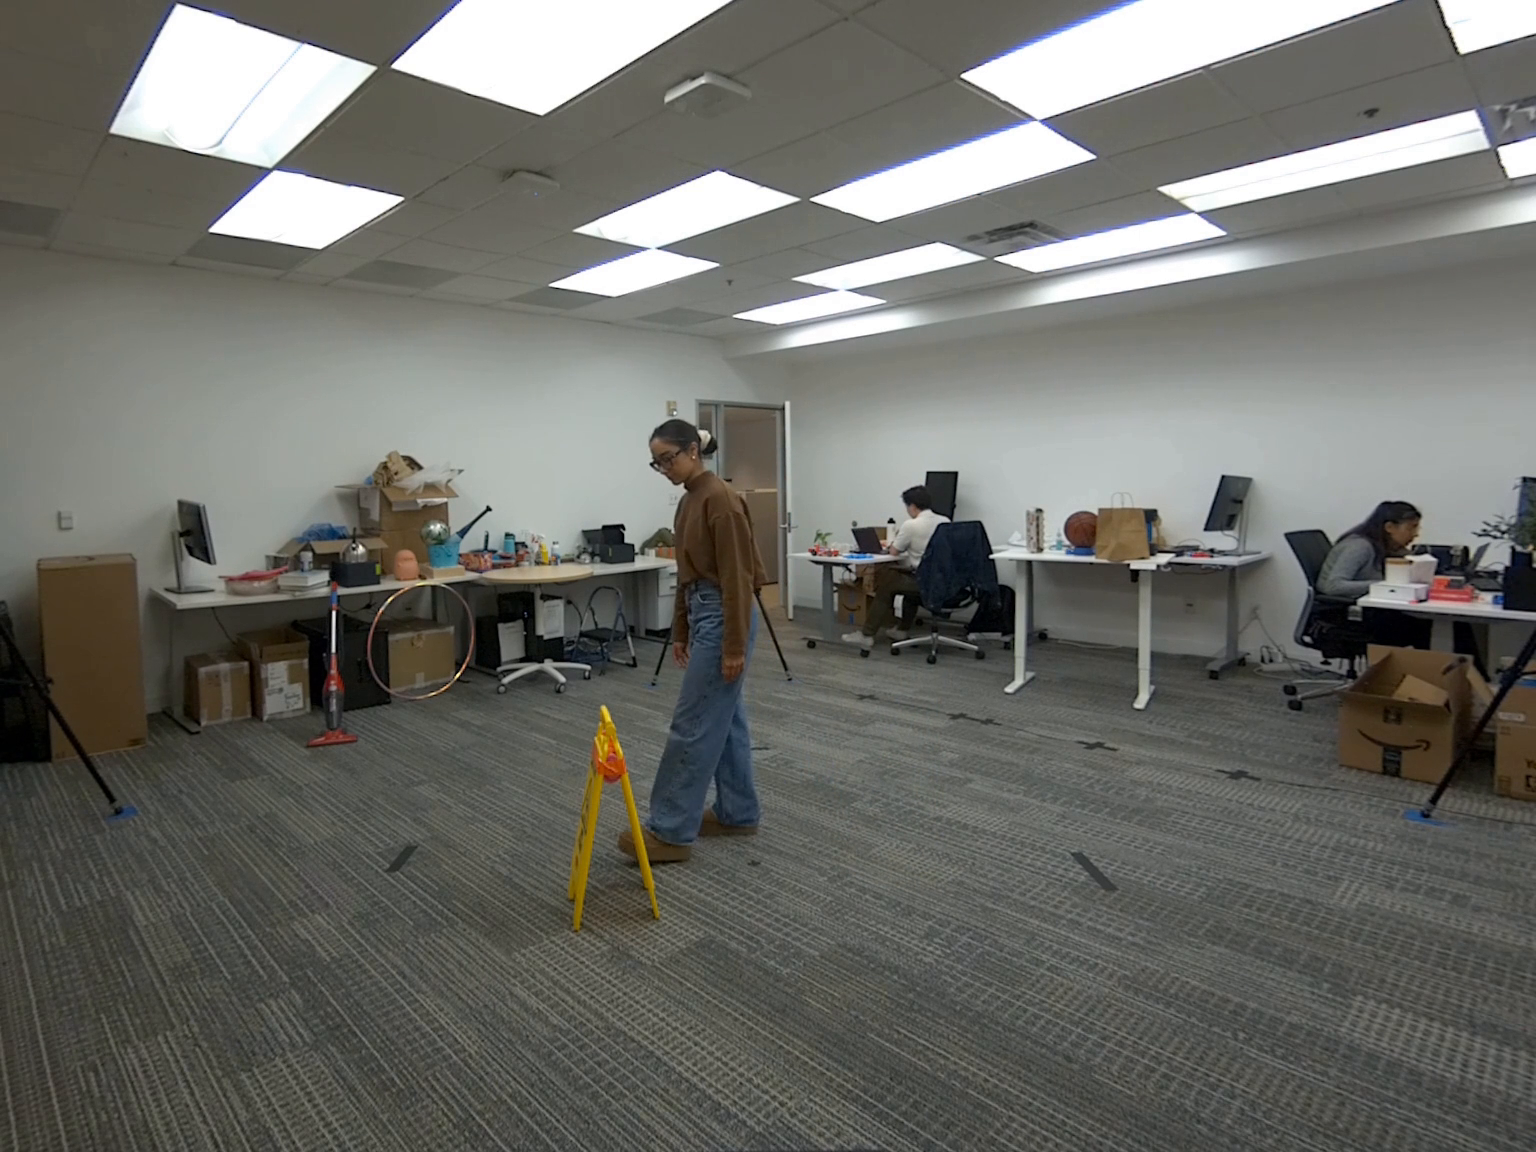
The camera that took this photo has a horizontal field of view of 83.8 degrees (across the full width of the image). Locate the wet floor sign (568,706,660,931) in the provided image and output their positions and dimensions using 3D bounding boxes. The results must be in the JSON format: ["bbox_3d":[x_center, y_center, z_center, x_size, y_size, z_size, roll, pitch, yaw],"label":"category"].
[{"bbox_3d":[-0.517,0.763,2.800,0.286,0.644,0.287,-3,3,-15],"label":"wet floor sign"}]
